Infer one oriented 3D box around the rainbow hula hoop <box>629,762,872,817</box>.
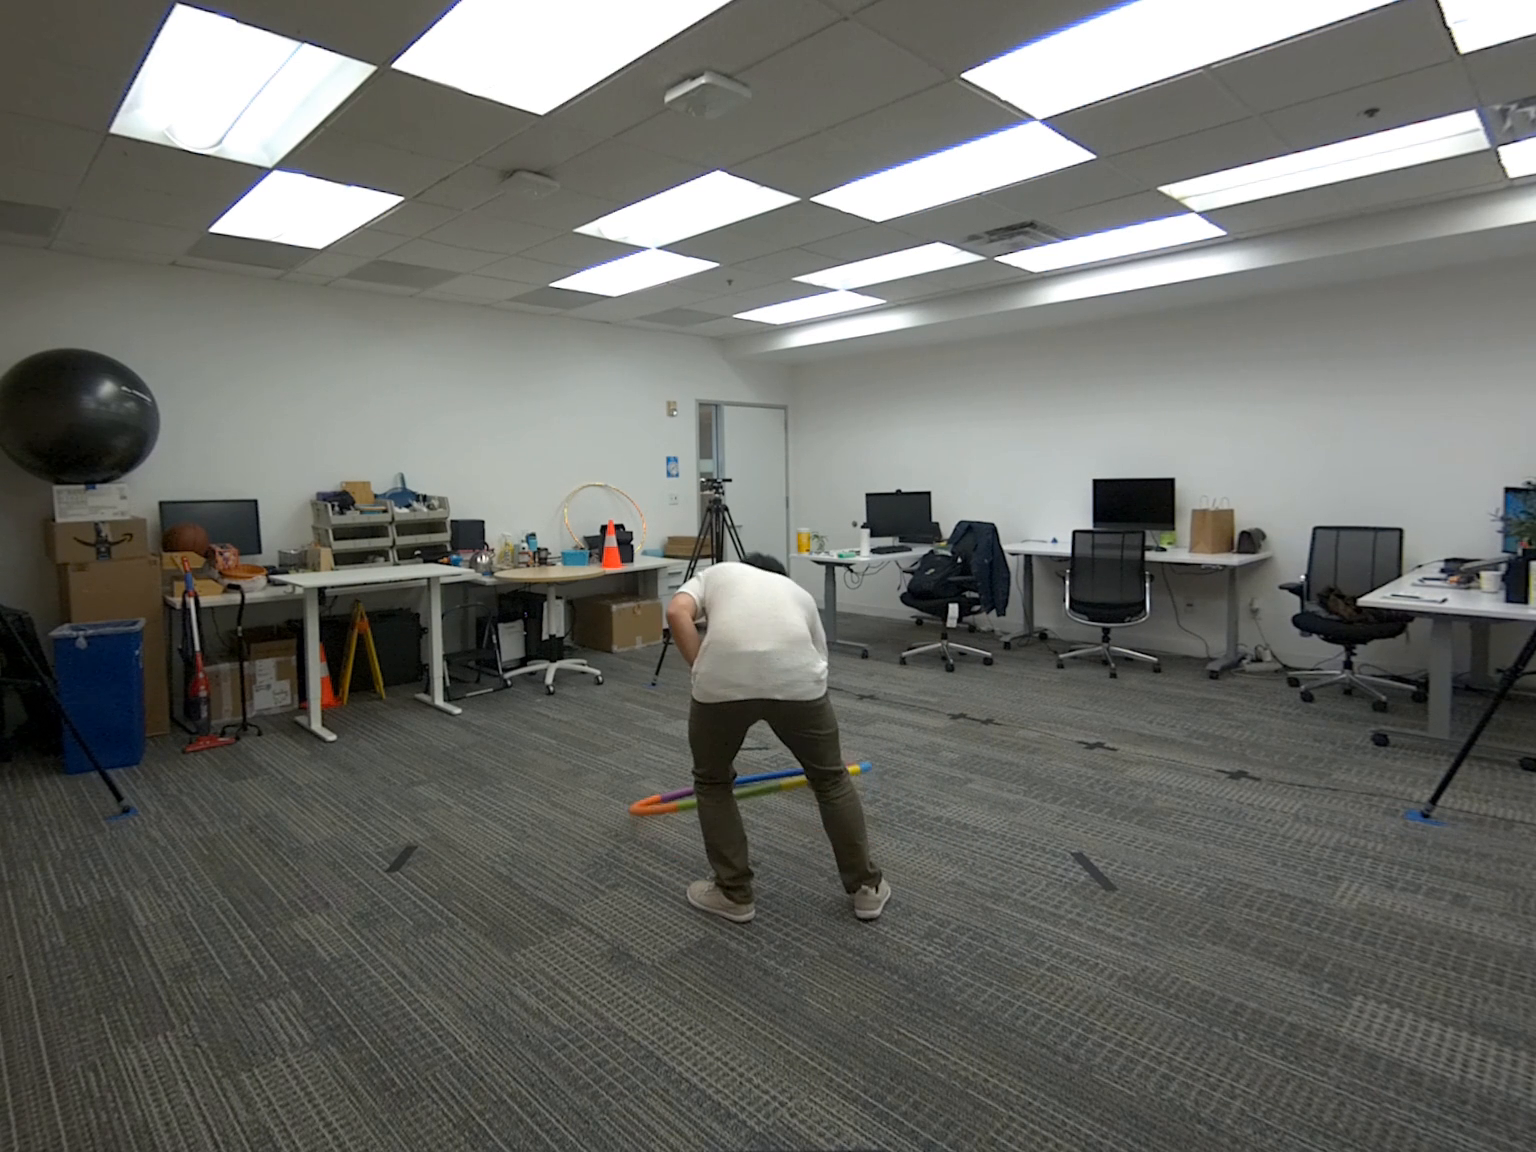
[{"bbox_3d":[-0.073,0.830,3.430,0.976,0.036,0.969,-10,-10,-4],"label":"rainbow hula hoop"}]
